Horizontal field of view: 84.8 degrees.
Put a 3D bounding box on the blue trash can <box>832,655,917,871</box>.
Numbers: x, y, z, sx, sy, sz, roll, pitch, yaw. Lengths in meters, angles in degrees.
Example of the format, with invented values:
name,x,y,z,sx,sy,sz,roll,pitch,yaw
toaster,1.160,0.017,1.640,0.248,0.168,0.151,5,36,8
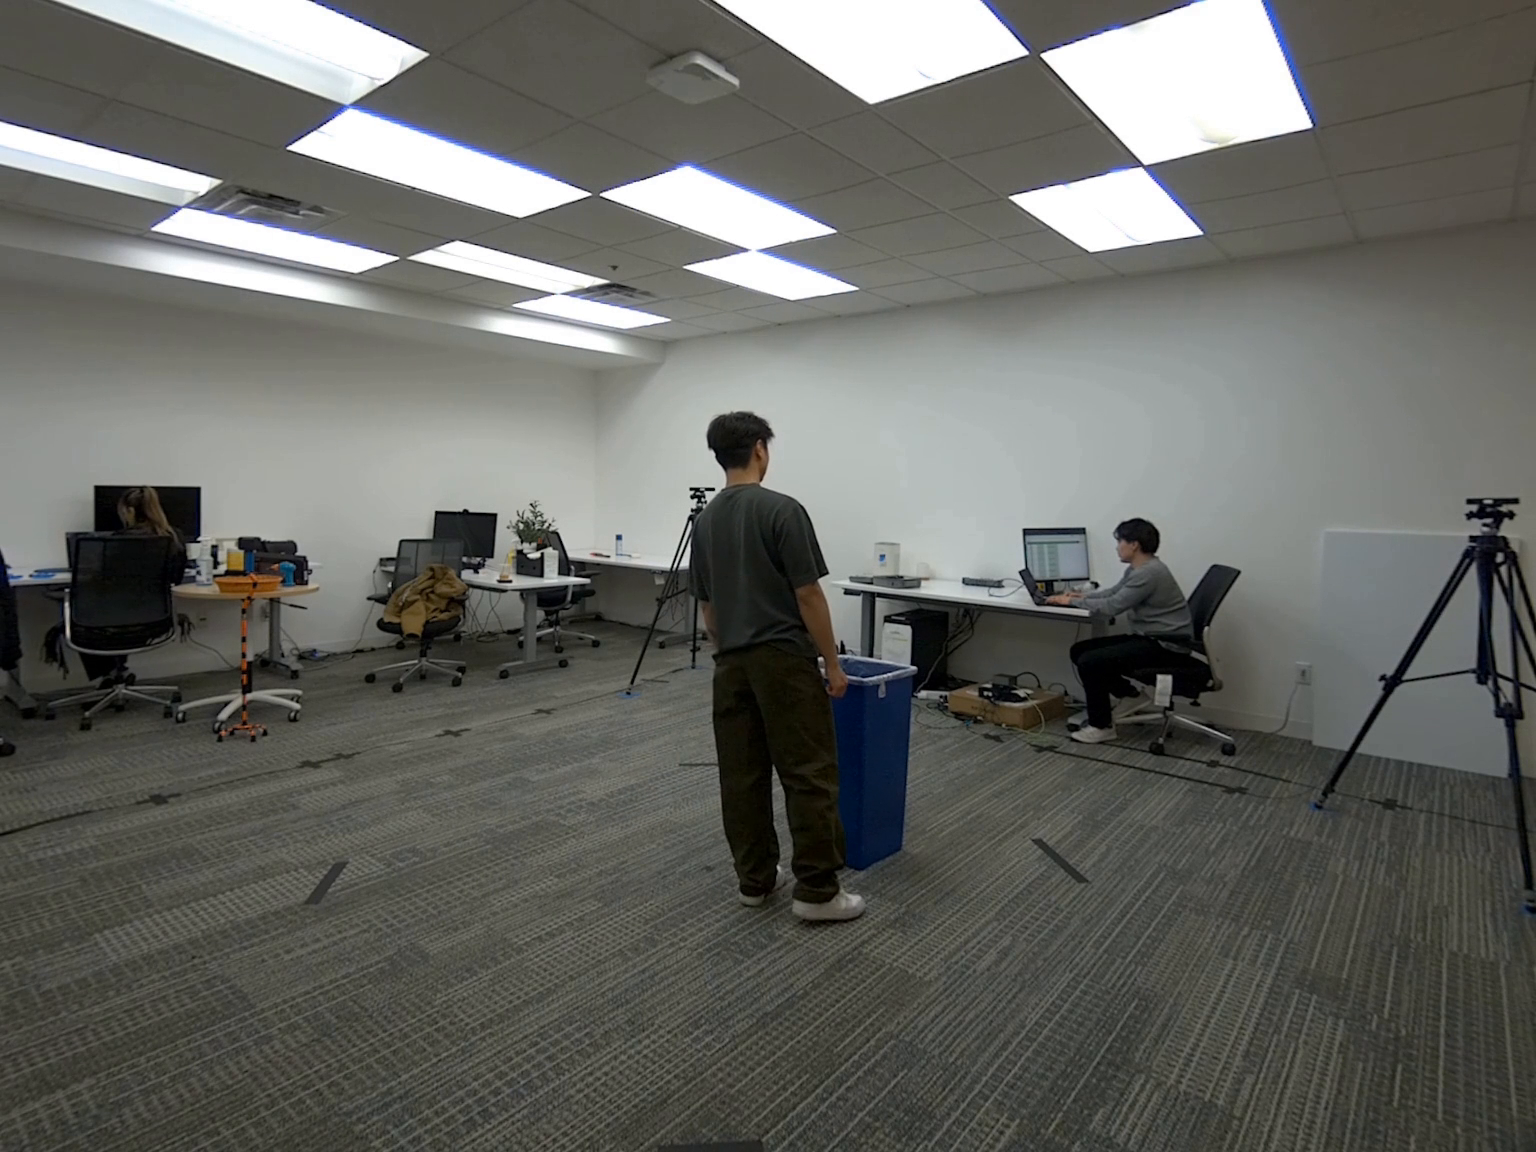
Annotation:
name,x,y,z,sx,sy,sz,roll,pitch,yaw
blue trash can,0.321,0.700,3.301,0.391,0.712,0.362,3,3,41
